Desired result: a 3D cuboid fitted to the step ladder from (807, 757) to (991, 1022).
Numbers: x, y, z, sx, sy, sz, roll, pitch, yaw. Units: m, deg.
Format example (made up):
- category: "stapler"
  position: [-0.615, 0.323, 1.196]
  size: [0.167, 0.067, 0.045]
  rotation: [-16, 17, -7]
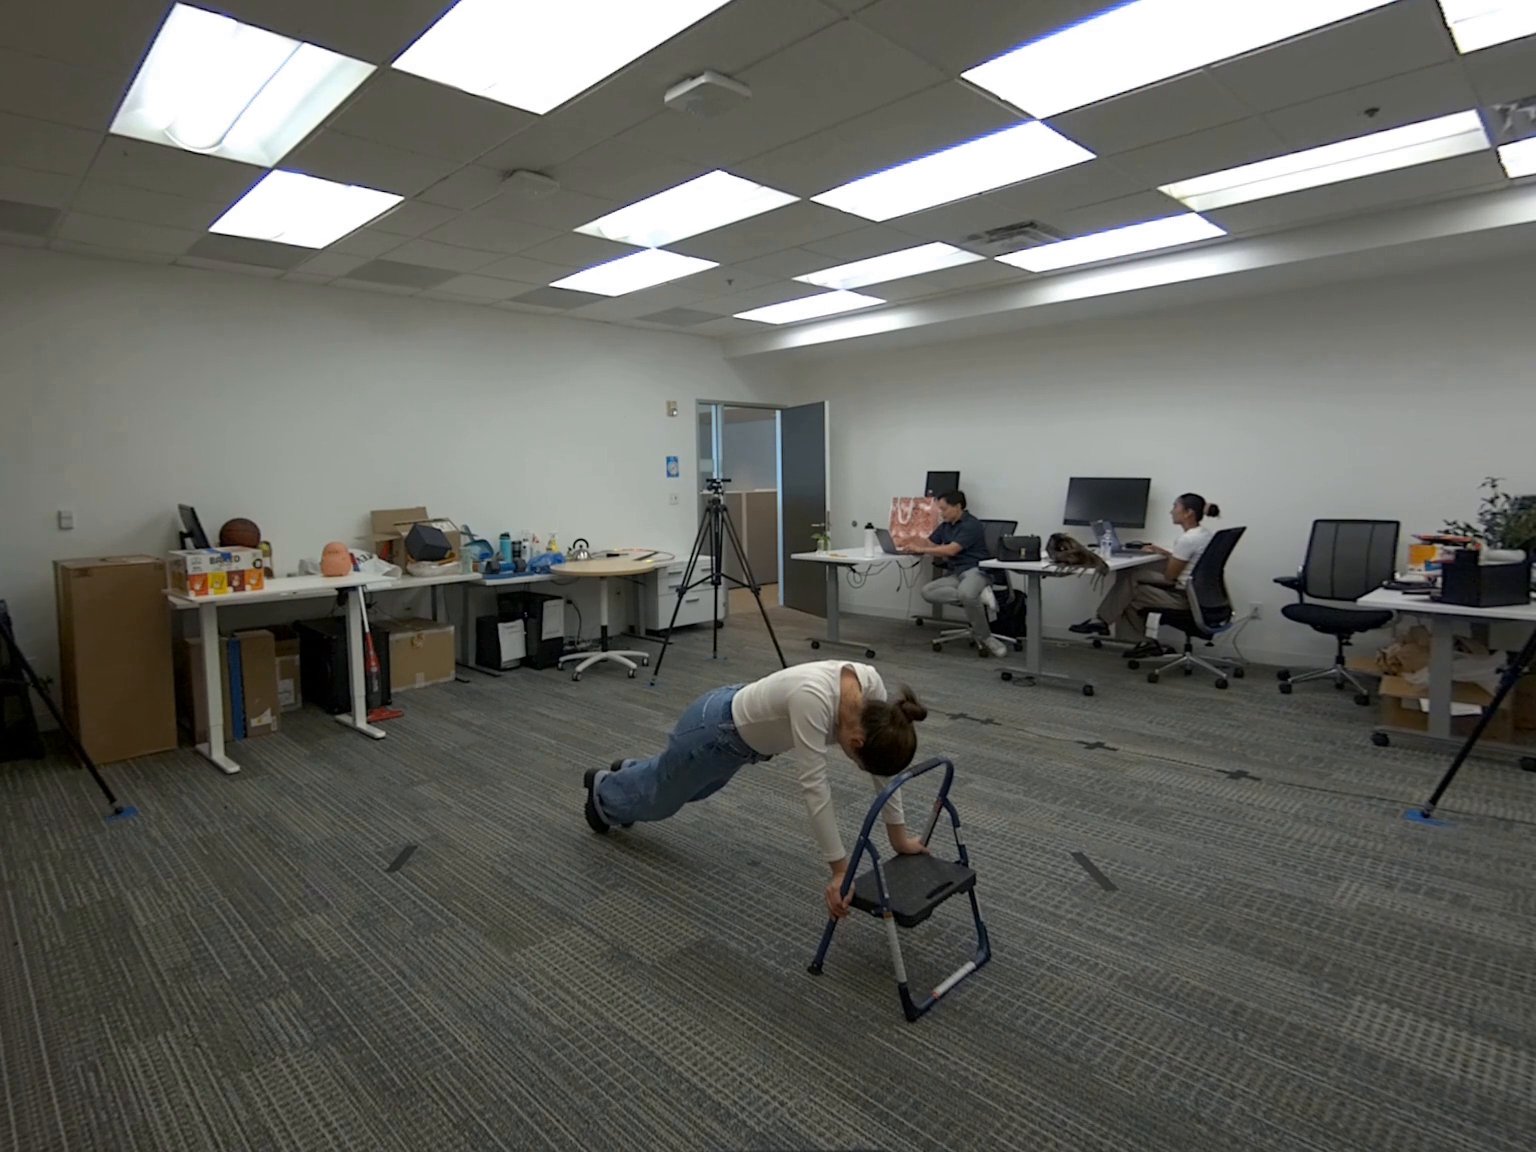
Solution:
- category: "step ladder"
  position: [0.383, 0.816, 2.424]
  size: [0.360, 0.604, 0.419]
  rotation: [3, 6, 43]
